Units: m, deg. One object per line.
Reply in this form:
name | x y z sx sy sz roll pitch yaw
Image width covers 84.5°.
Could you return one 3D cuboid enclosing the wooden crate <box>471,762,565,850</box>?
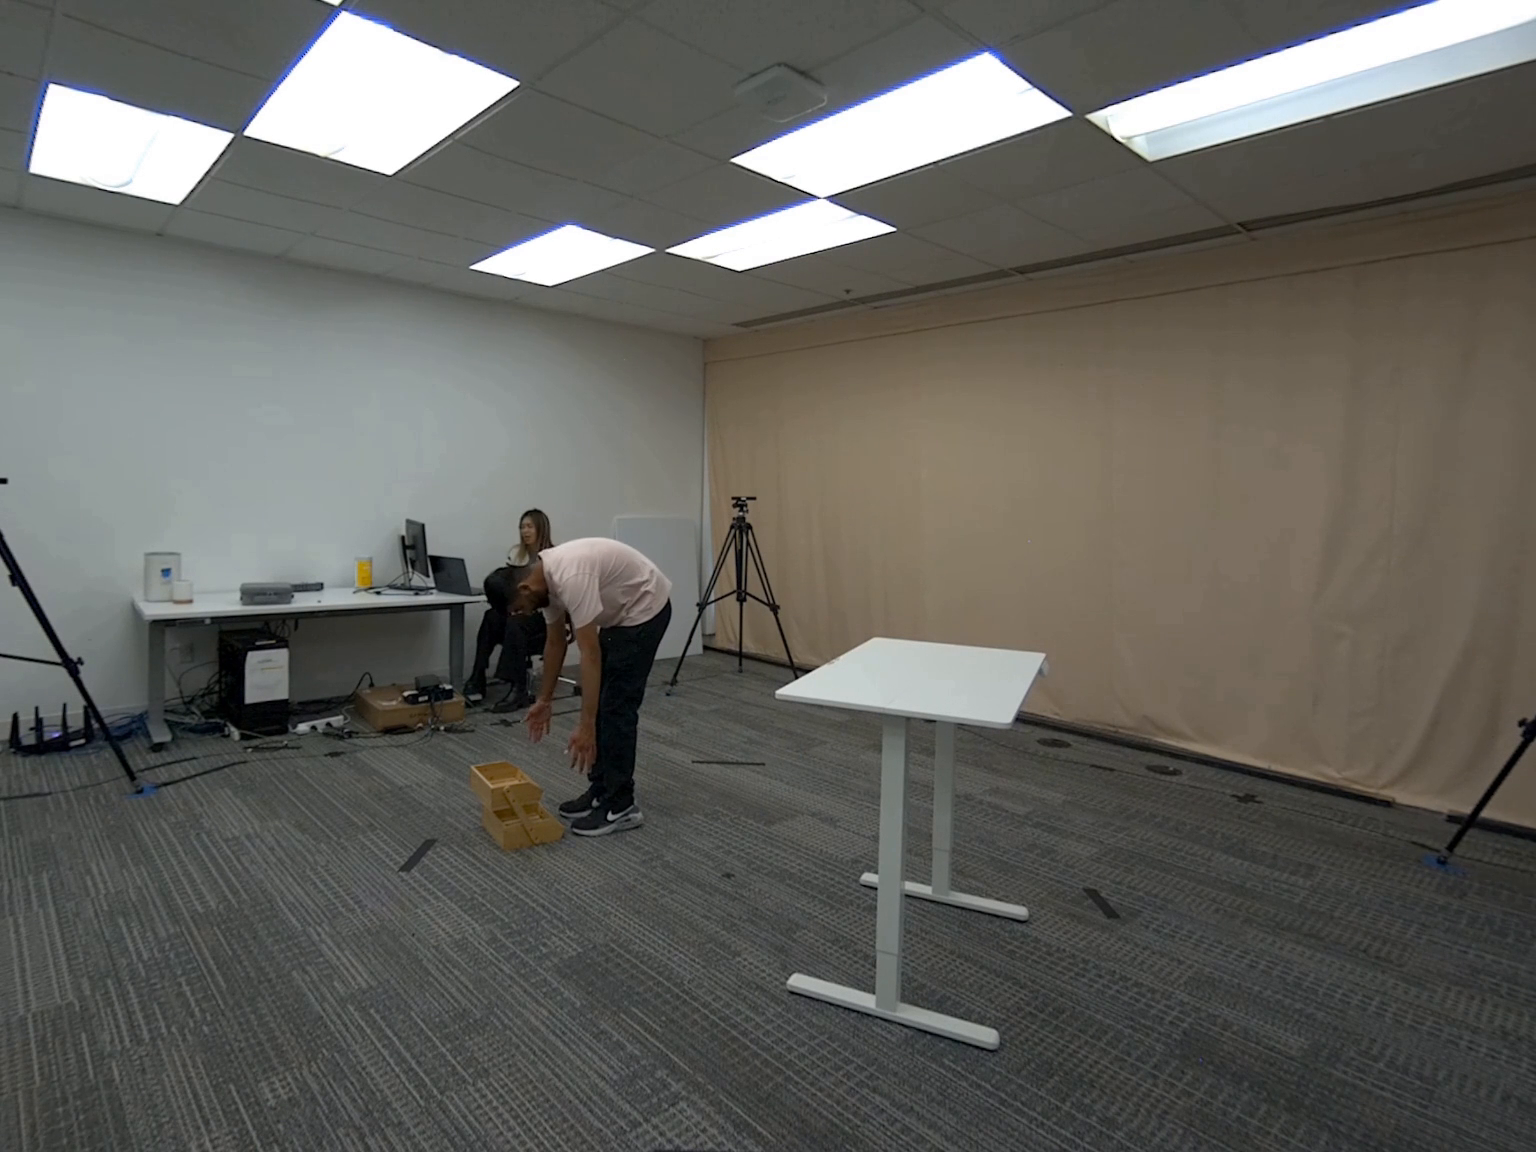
wooden crate | -1.038 0.922 3.440 0.295 0.272 0.332 -2 6 -34
